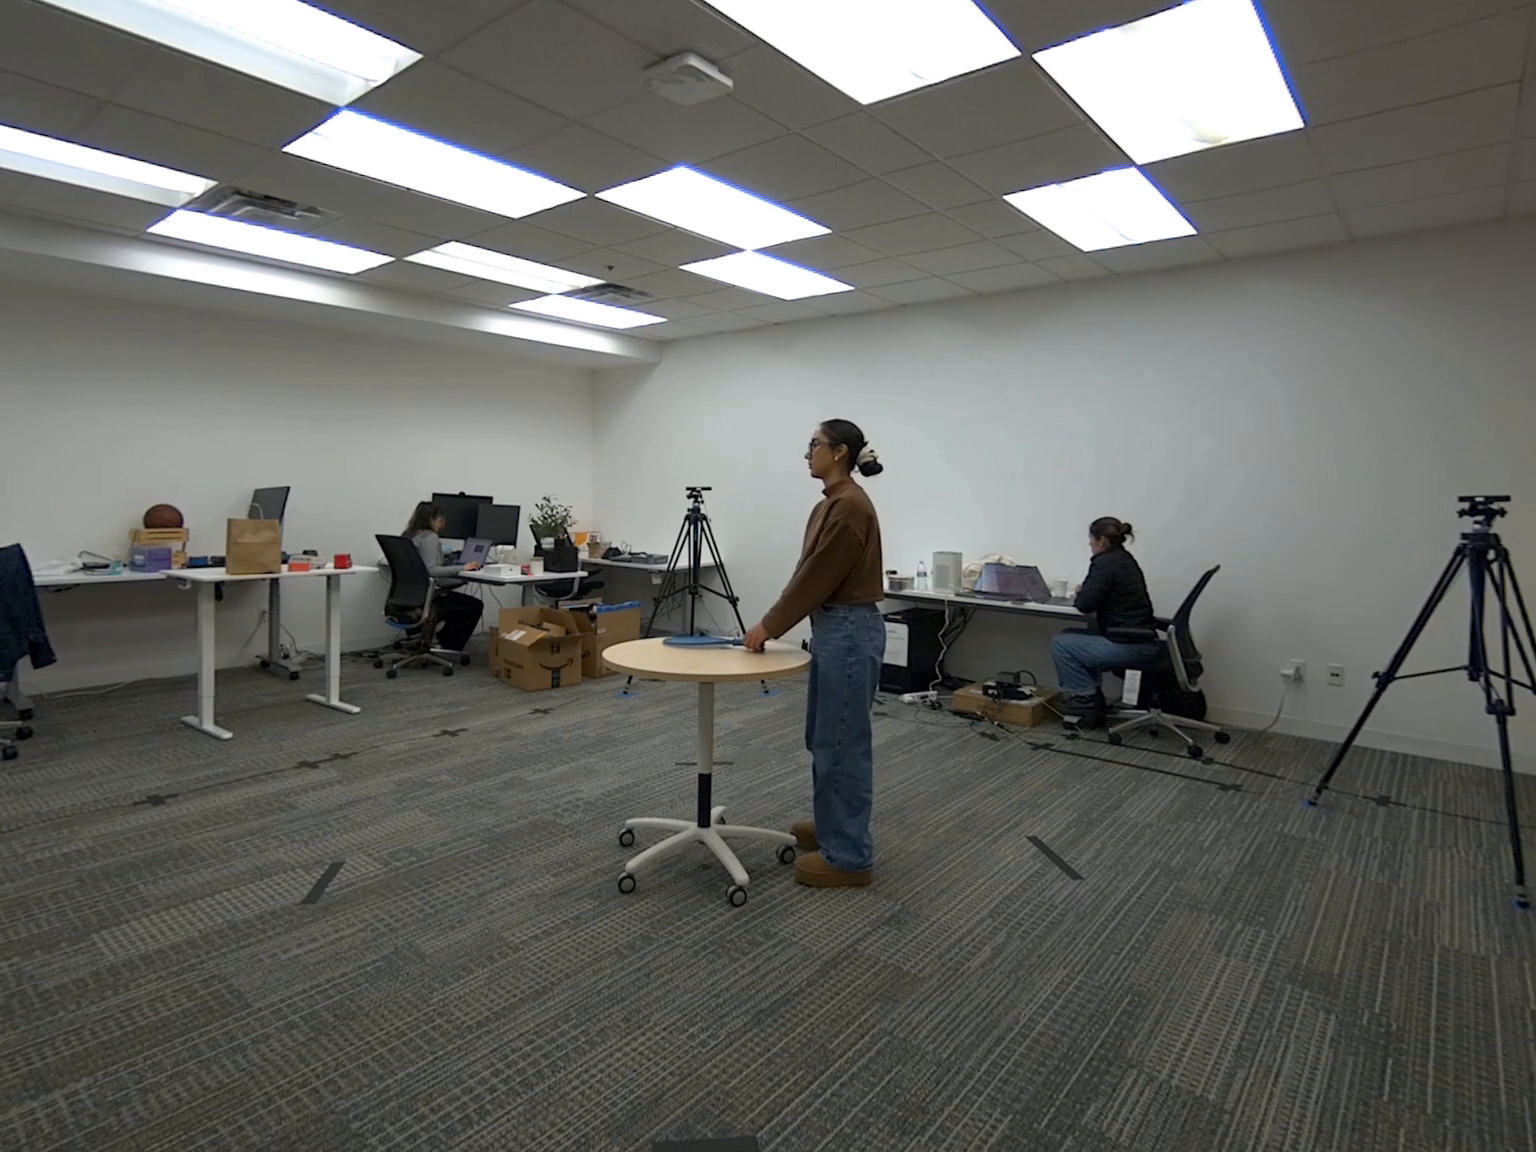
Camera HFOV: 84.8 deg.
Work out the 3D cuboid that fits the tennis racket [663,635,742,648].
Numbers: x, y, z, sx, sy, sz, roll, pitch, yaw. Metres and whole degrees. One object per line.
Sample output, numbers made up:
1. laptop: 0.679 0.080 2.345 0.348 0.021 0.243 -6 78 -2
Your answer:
1. tennis racket: -0.229 0.254 3.316 0.446 0.031 0.208 1 5 35
